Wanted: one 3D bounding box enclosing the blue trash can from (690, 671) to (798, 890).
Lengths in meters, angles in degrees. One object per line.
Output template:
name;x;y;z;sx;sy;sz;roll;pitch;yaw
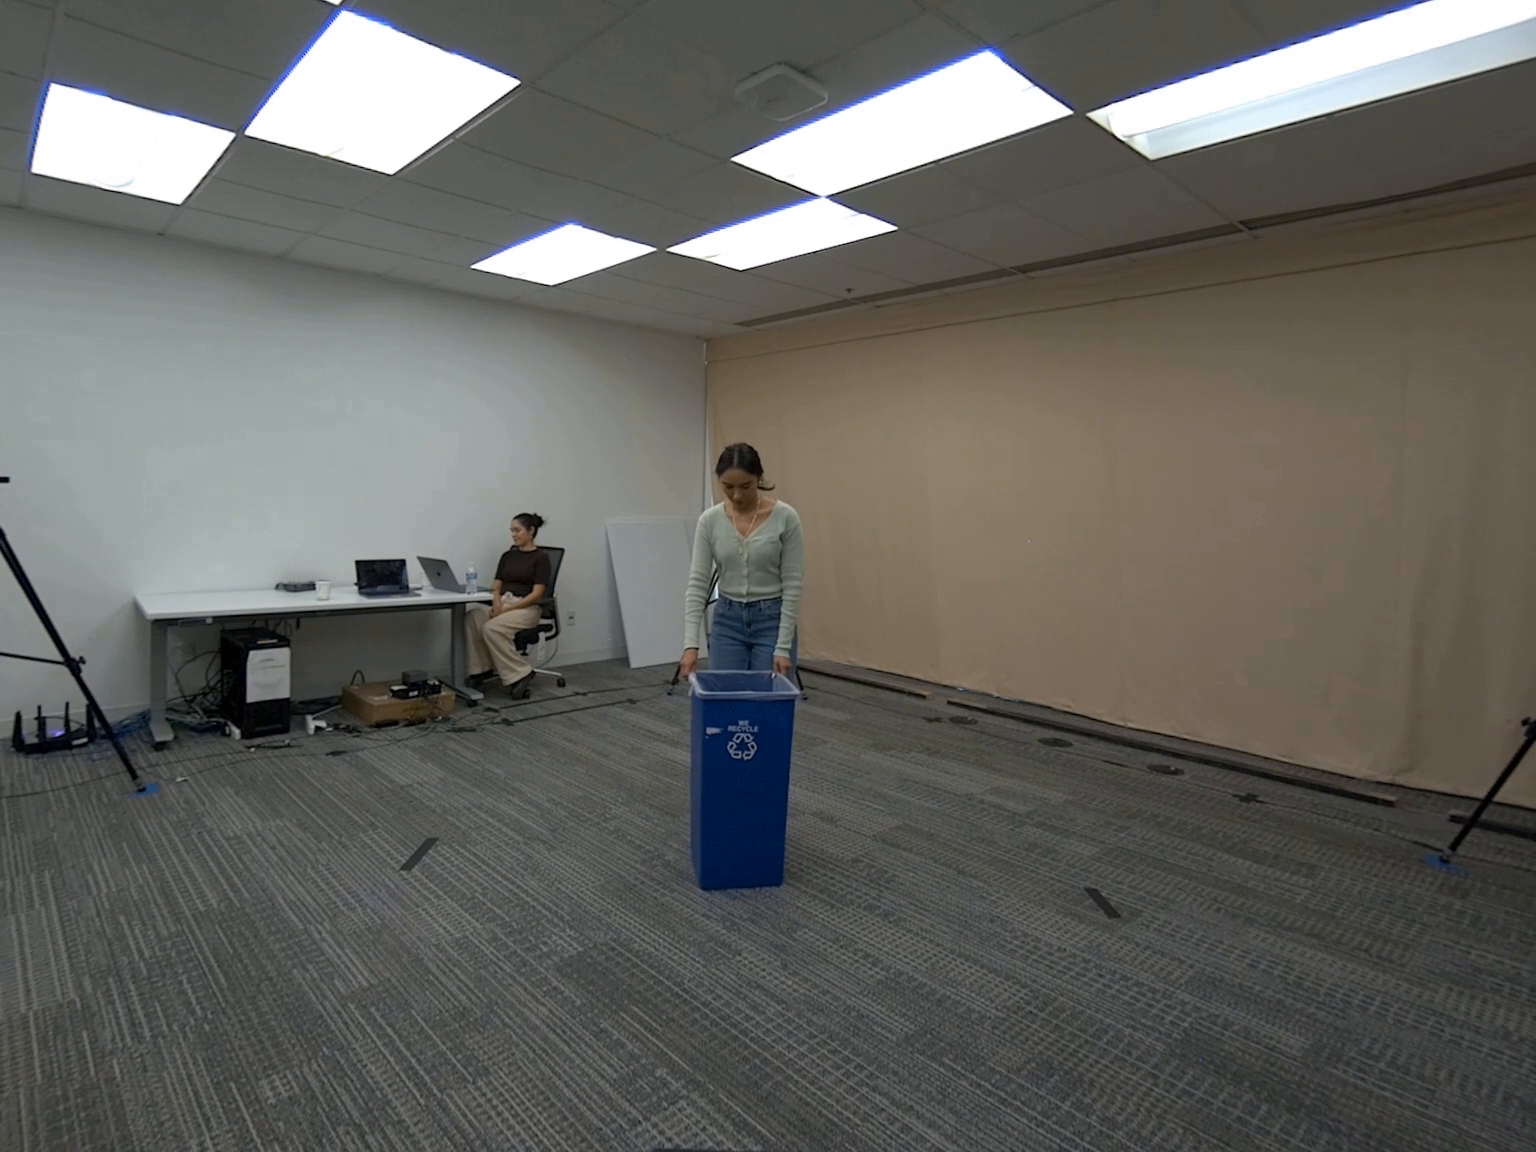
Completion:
blue trash can;-0.117;0.743;3.127;0.371;0.712;0.382;1;4;-11
